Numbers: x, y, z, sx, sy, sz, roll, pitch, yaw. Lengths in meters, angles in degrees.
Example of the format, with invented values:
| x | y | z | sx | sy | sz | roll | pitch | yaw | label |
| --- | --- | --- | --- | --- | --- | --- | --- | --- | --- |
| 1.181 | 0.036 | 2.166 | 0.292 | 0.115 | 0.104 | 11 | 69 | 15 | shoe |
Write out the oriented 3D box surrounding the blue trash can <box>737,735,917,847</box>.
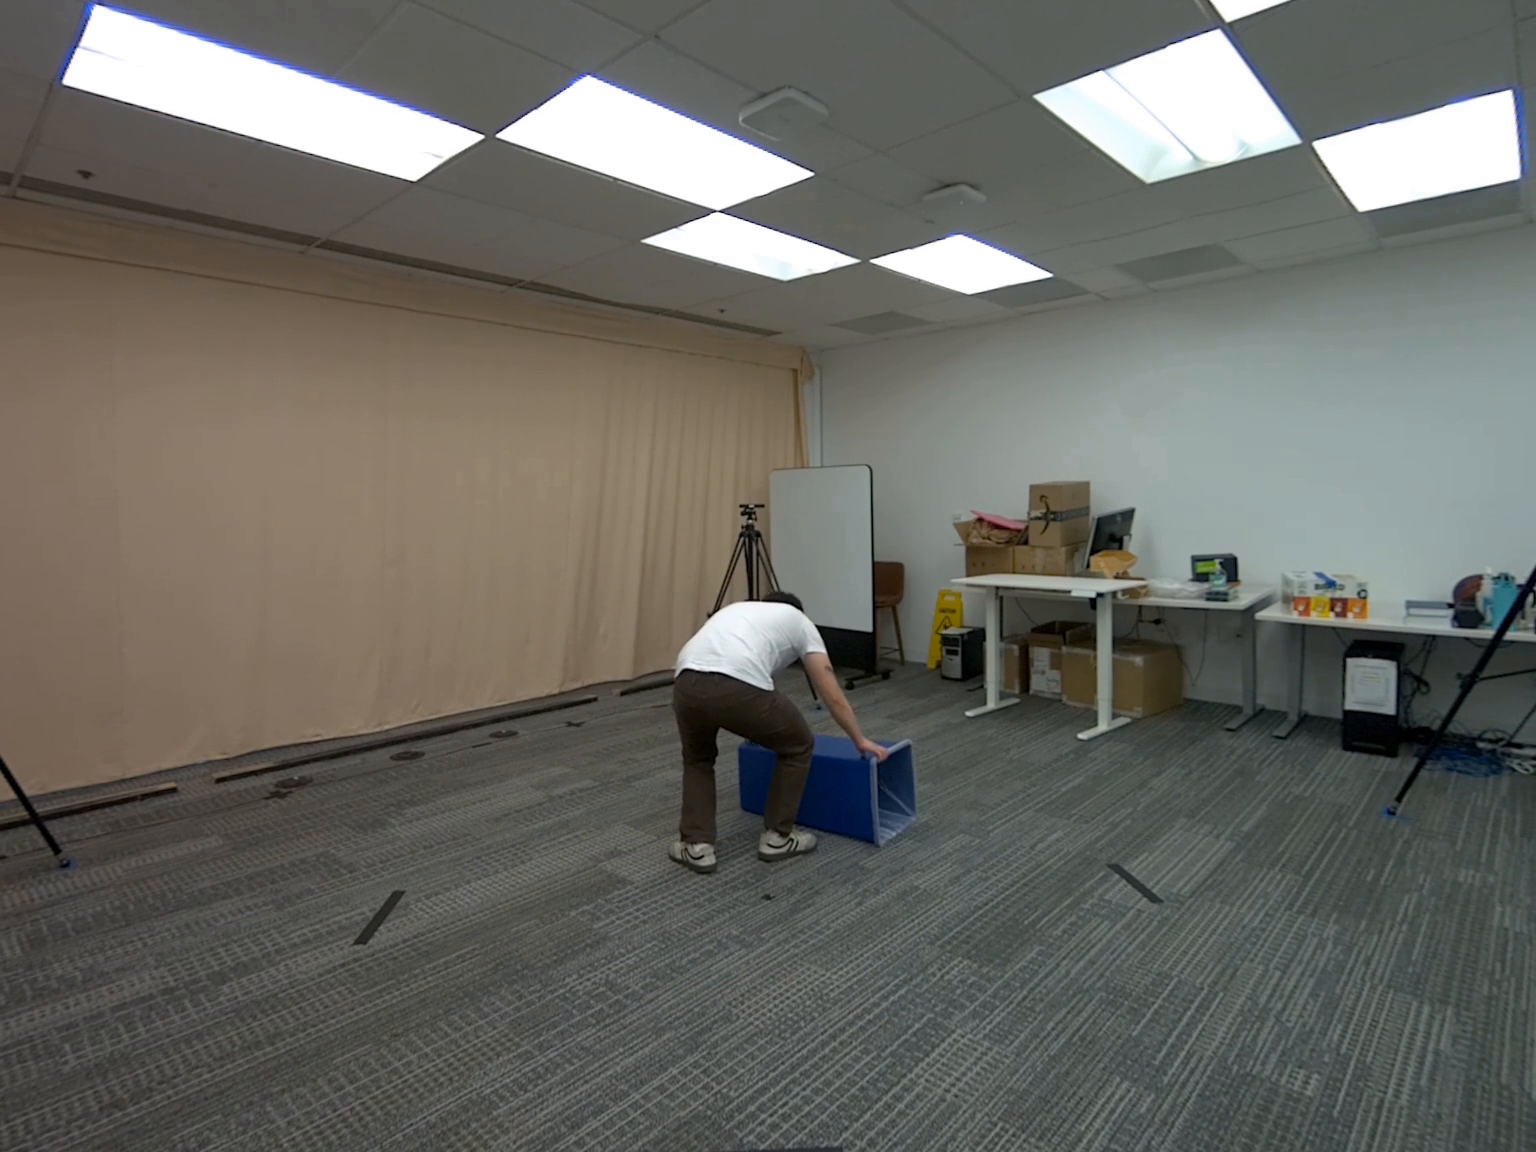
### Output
| x | y | z | sx | sy | sz | roll | pitch | yaw | label |
| --- | --- | --- | --- | --- | --- | --- | --- | --- | --- |
| 0.249 | 0.902 | 3.737 | 0.736 | 0.377 | 0.363 | 0 | 5 | 37 | blue trash can |
